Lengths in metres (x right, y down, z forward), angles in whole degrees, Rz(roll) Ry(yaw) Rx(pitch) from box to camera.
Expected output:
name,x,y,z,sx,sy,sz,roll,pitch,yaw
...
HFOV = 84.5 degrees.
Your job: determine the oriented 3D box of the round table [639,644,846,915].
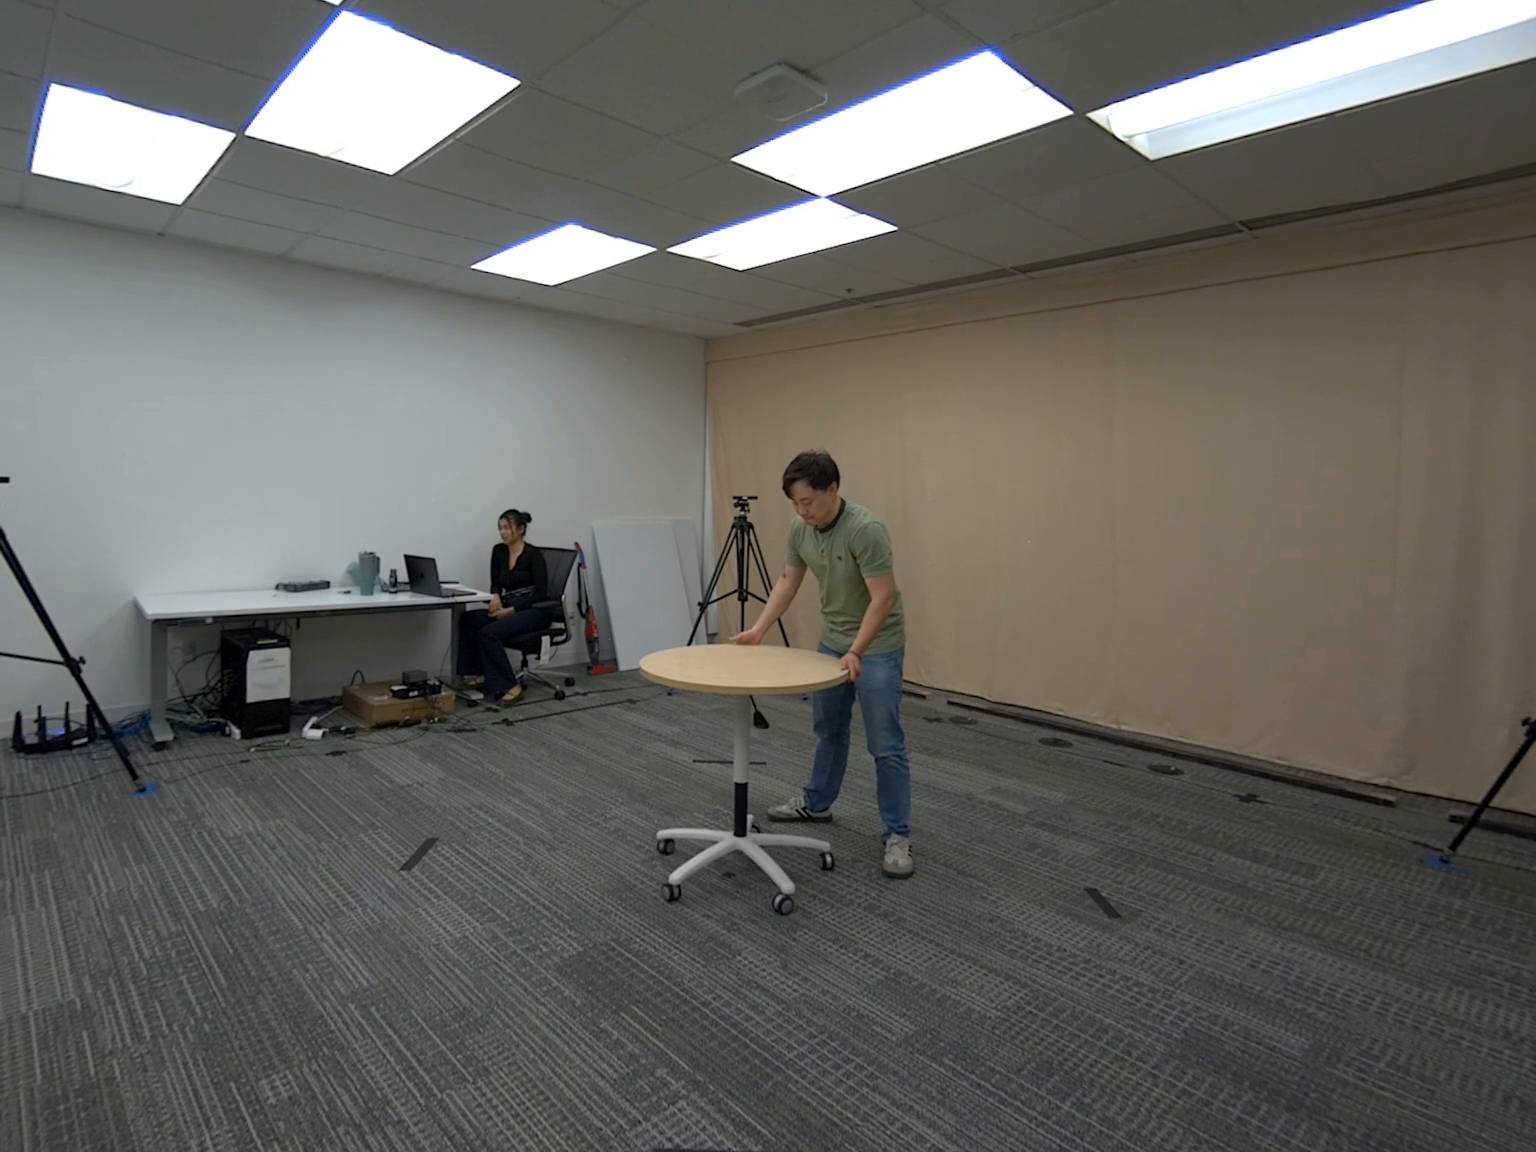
name,x,y,z,sx,sy,sz,roll,pitch,yaw
round table,-0.103,0.714,3.100,0.763,0.792,0.766,1,4,-1
